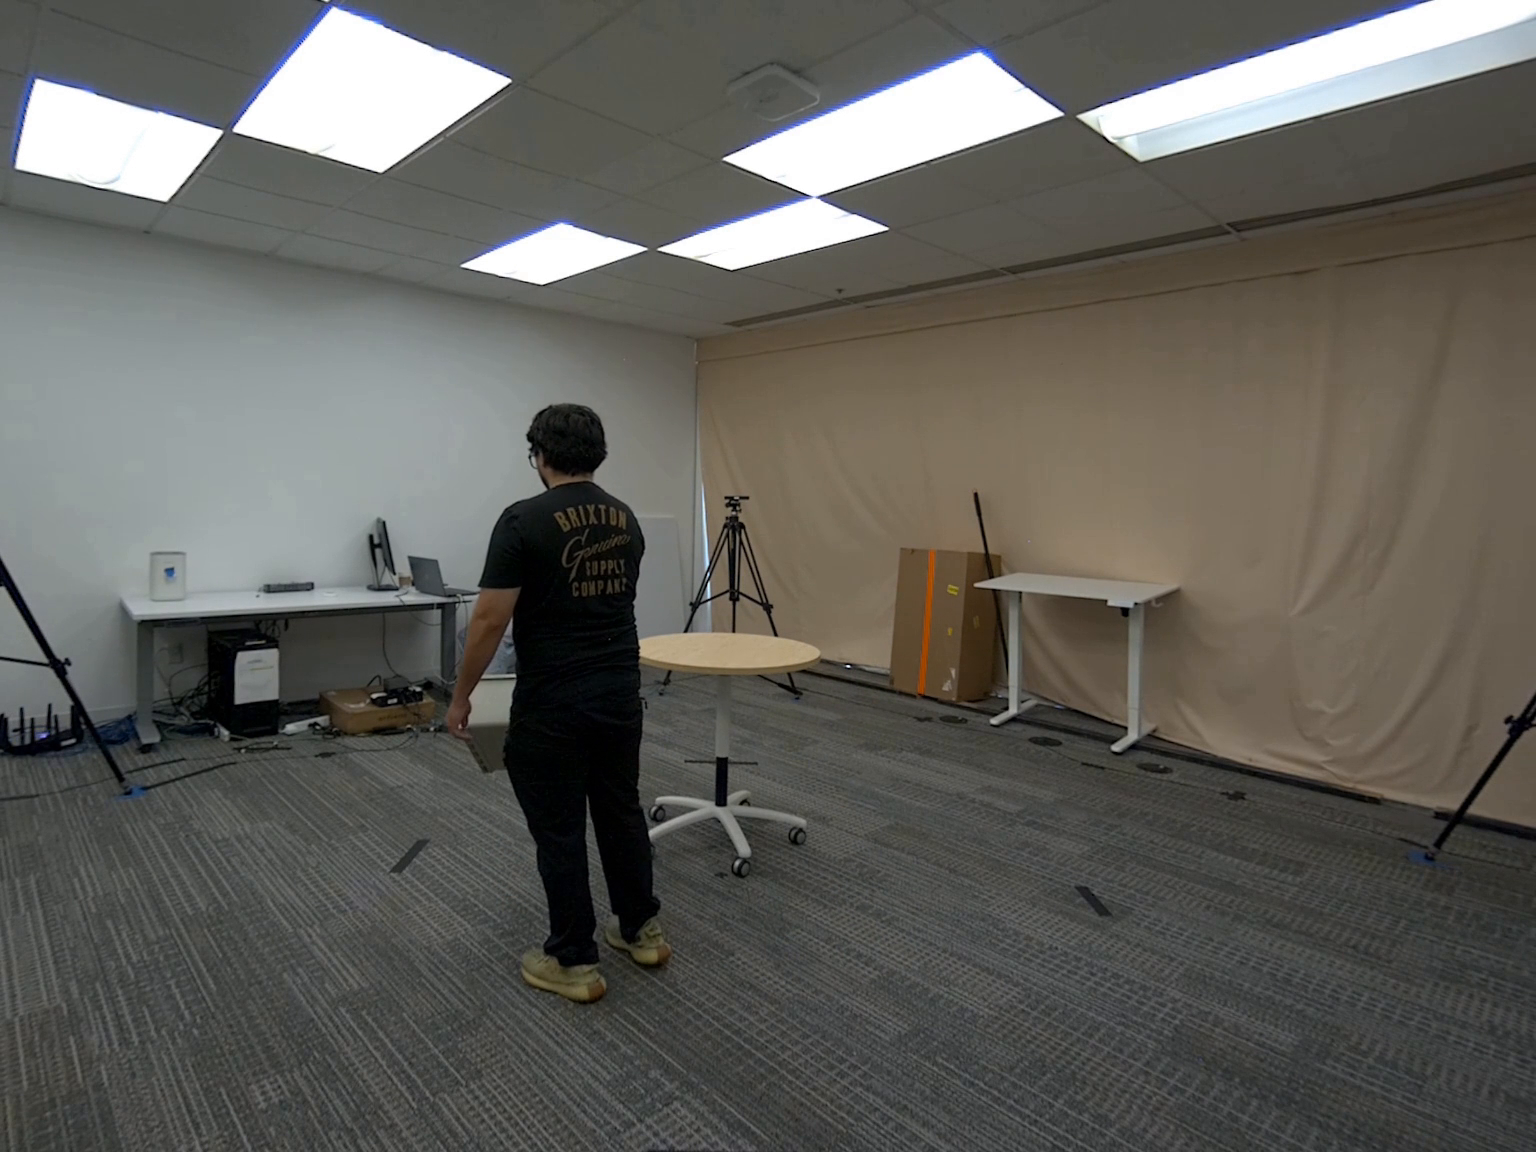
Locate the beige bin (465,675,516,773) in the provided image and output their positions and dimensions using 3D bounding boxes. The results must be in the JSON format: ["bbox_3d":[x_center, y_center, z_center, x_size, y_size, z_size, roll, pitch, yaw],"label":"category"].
[{"bbox_3d":[-0.766,0.504,2.768,0.423,0.193,0.369,0,-39,1],"label":"beige bin"}]
